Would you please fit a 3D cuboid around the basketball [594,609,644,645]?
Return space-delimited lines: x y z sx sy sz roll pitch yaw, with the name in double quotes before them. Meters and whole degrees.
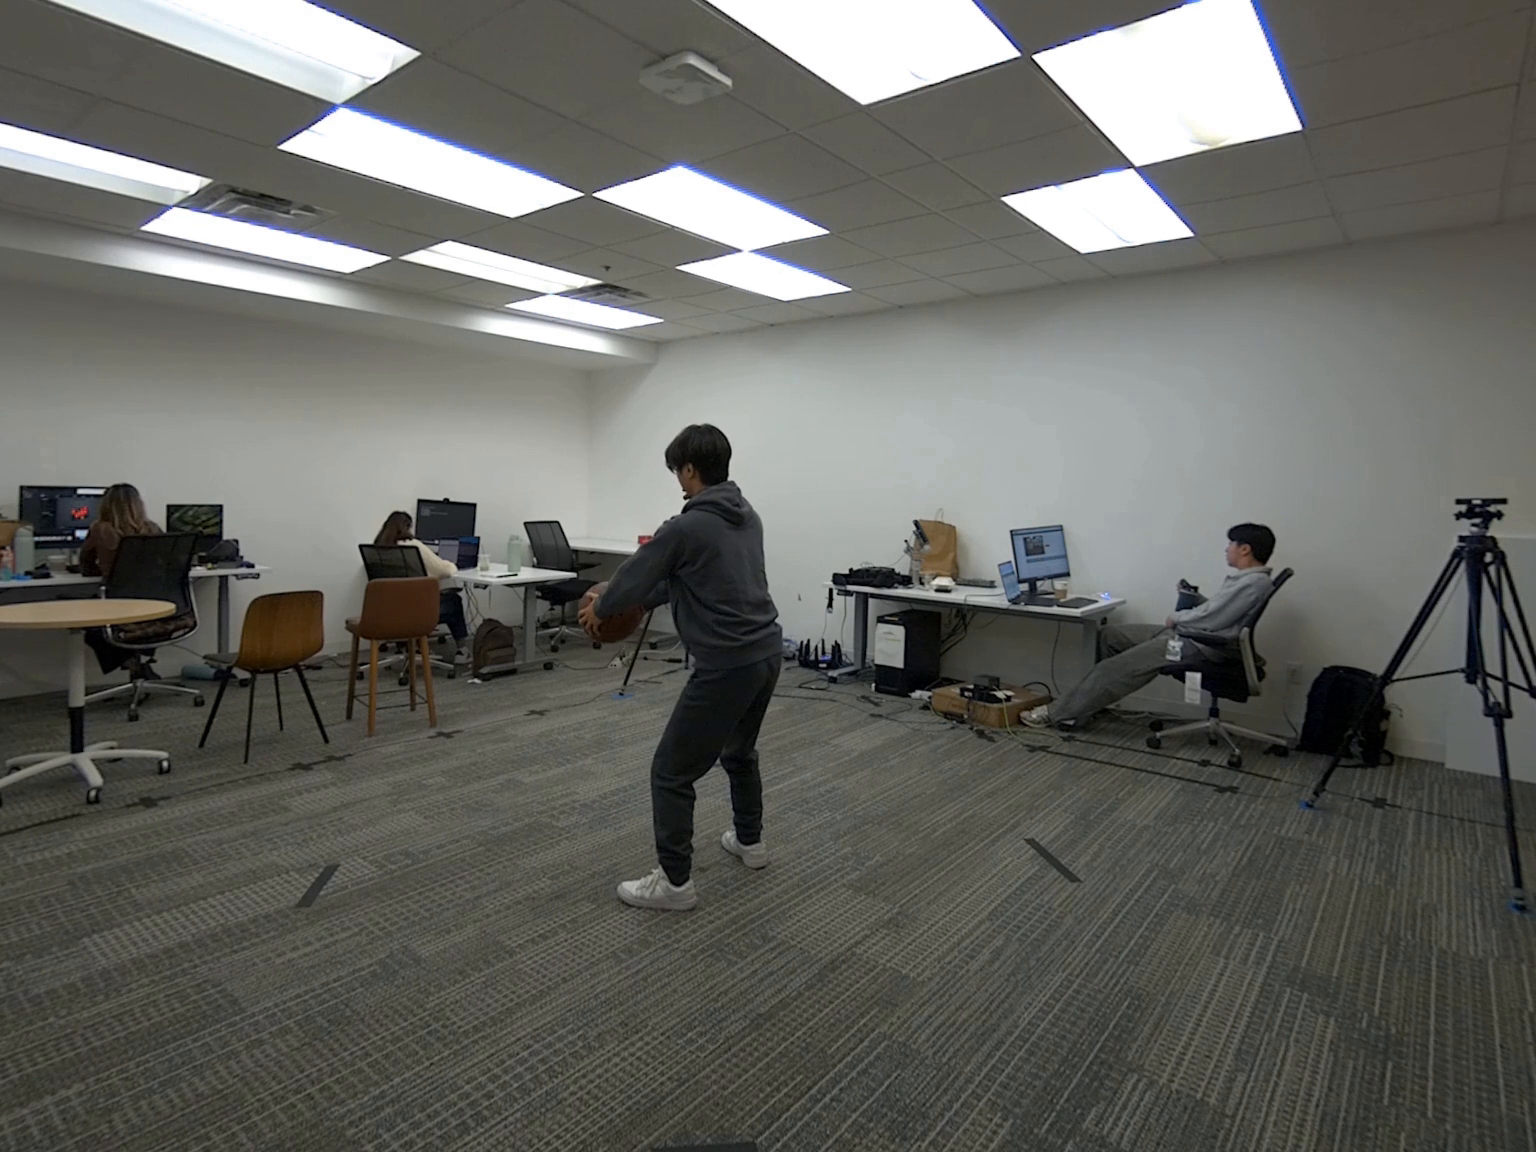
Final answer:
"basketball" -0.615 0.145 3.290 0.235 0.235 0.237 1 4 -2
